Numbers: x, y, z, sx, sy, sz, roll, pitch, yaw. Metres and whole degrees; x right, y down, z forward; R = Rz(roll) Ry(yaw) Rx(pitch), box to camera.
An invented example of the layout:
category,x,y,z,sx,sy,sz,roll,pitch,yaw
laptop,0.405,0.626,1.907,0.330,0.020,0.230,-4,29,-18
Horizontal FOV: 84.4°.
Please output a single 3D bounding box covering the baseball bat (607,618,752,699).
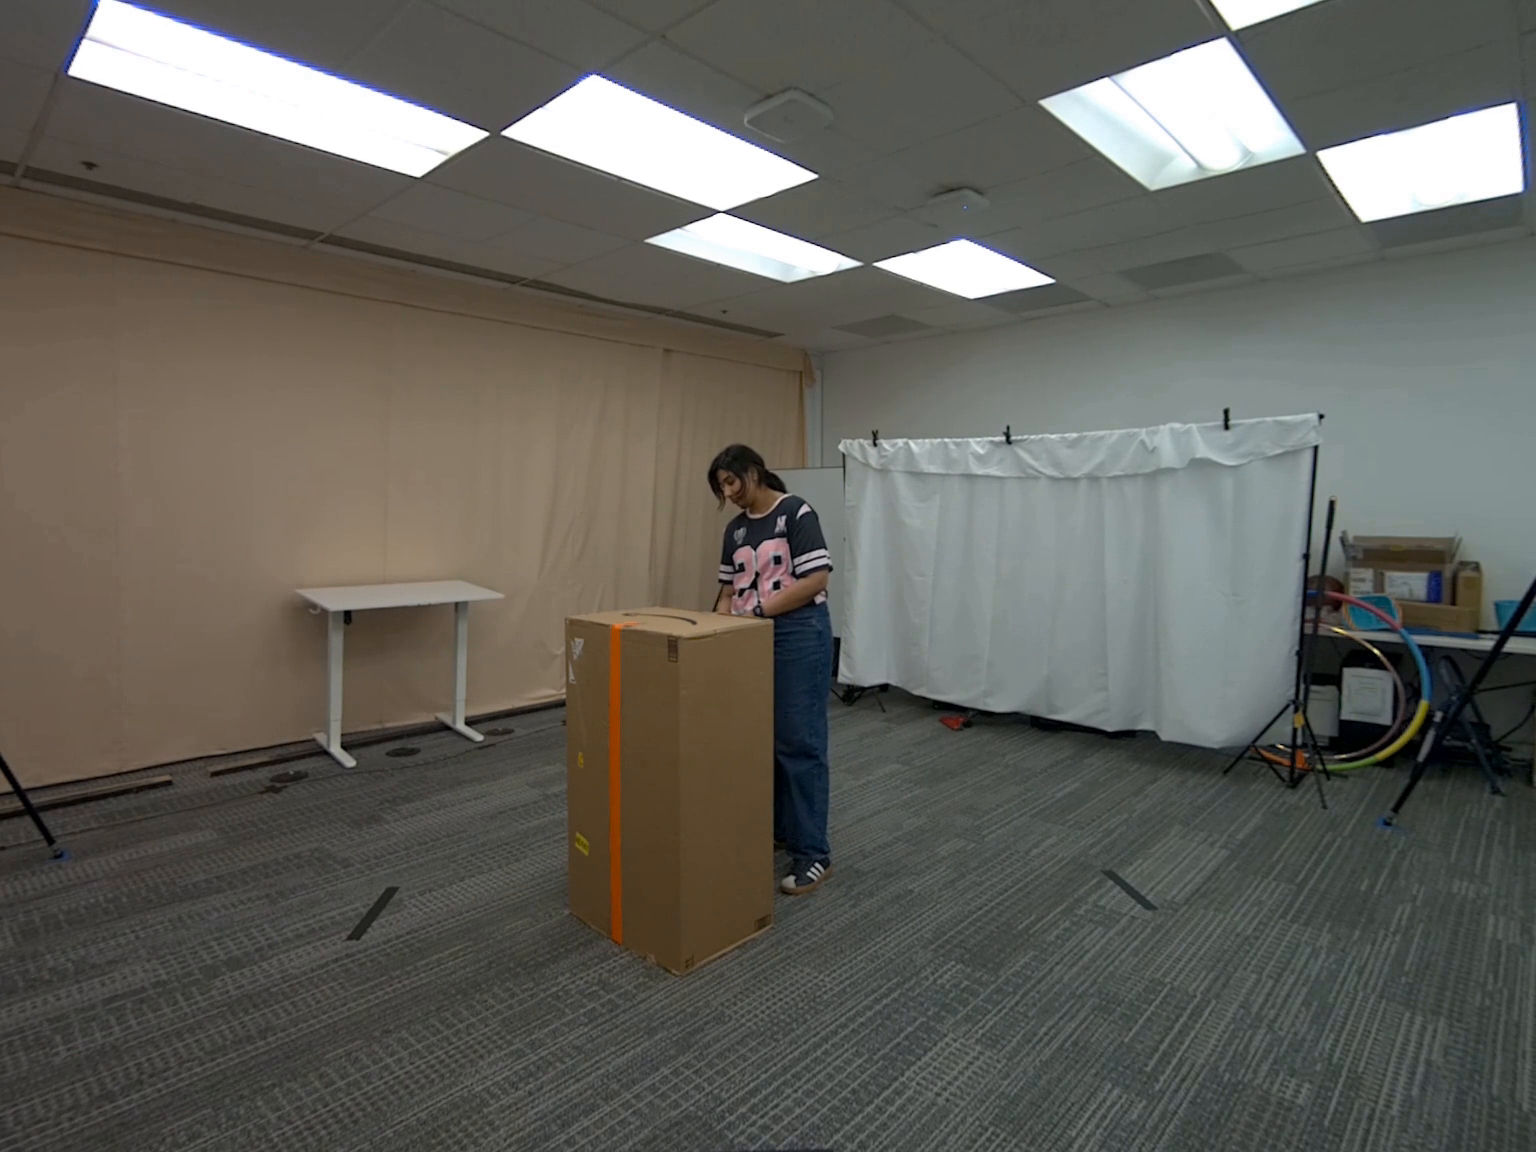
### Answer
category,x,y,z,sx,sy,sz,roll,pitch,yaw
baseball bat,-0.336,0.306,3.204,0.542,0.088,0.090,-22,6,-3
